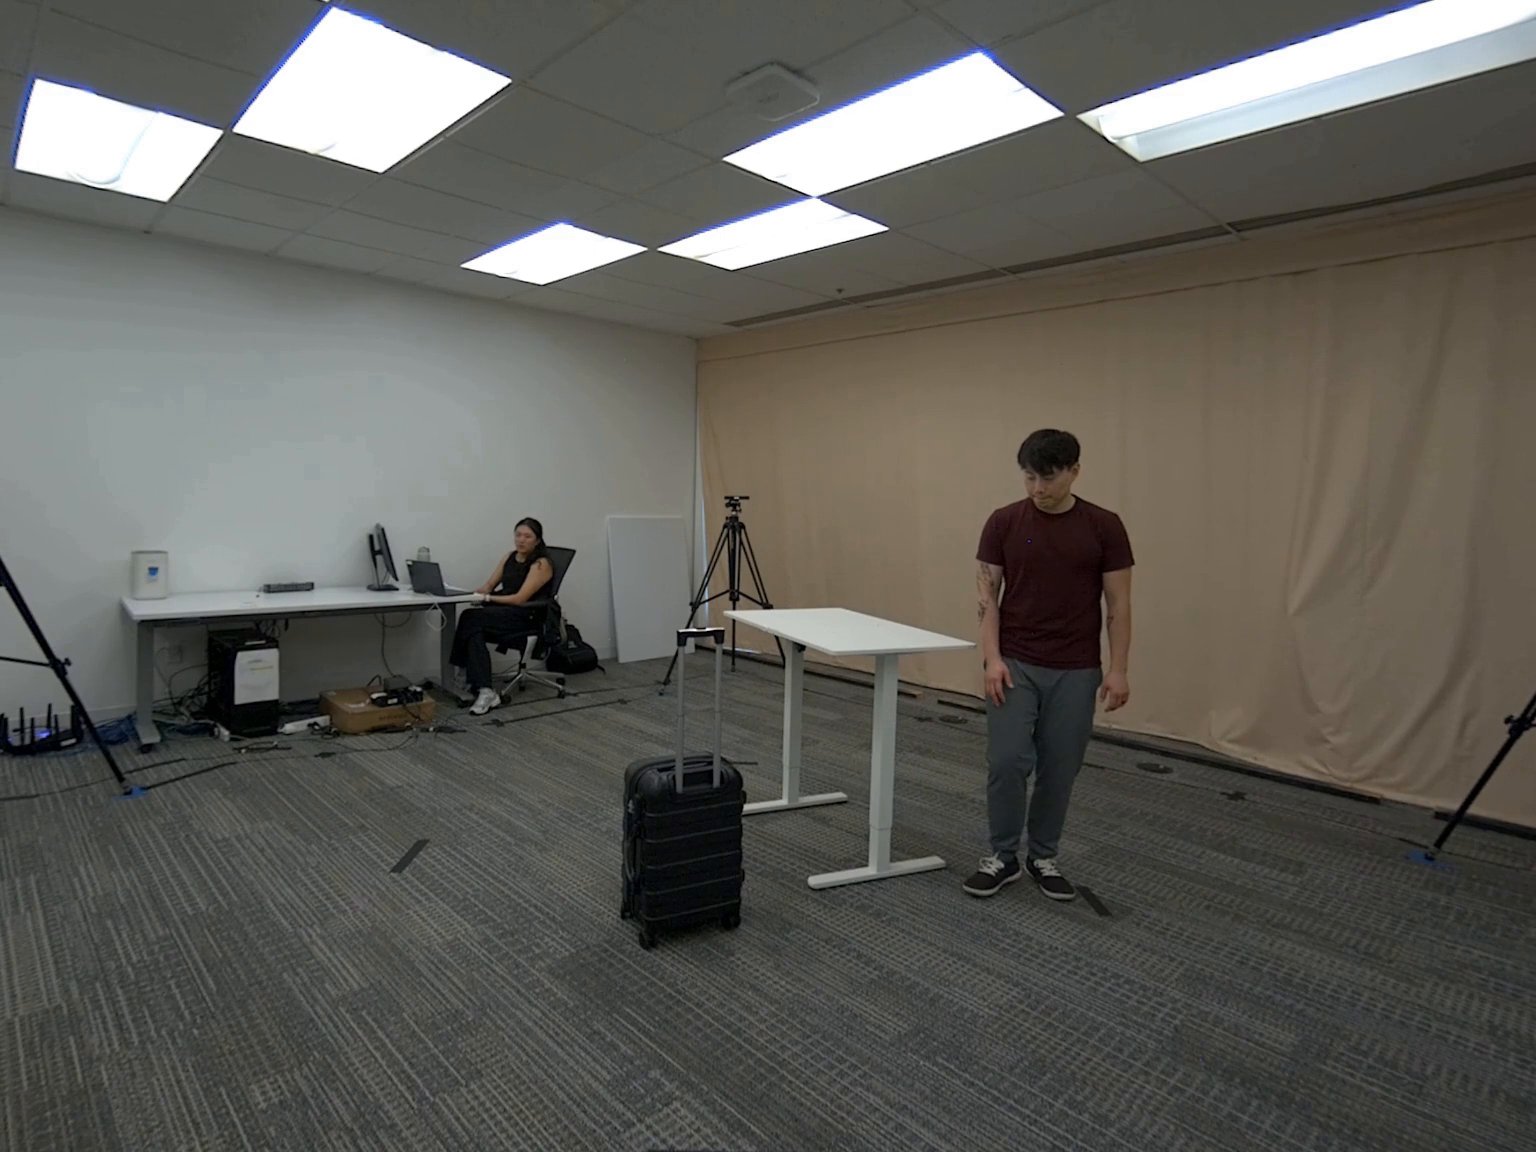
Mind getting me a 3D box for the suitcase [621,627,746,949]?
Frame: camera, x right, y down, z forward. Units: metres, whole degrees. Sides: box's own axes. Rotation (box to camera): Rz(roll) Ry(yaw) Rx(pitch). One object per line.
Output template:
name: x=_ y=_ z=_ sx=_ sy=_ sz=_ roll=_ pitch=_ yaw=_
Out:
suitcase: x=-0.280 y=0.657 z=2.710 sx=0.377 sy=0.977 sz=0.262 roll=0 pitch=2 yaw=-25
